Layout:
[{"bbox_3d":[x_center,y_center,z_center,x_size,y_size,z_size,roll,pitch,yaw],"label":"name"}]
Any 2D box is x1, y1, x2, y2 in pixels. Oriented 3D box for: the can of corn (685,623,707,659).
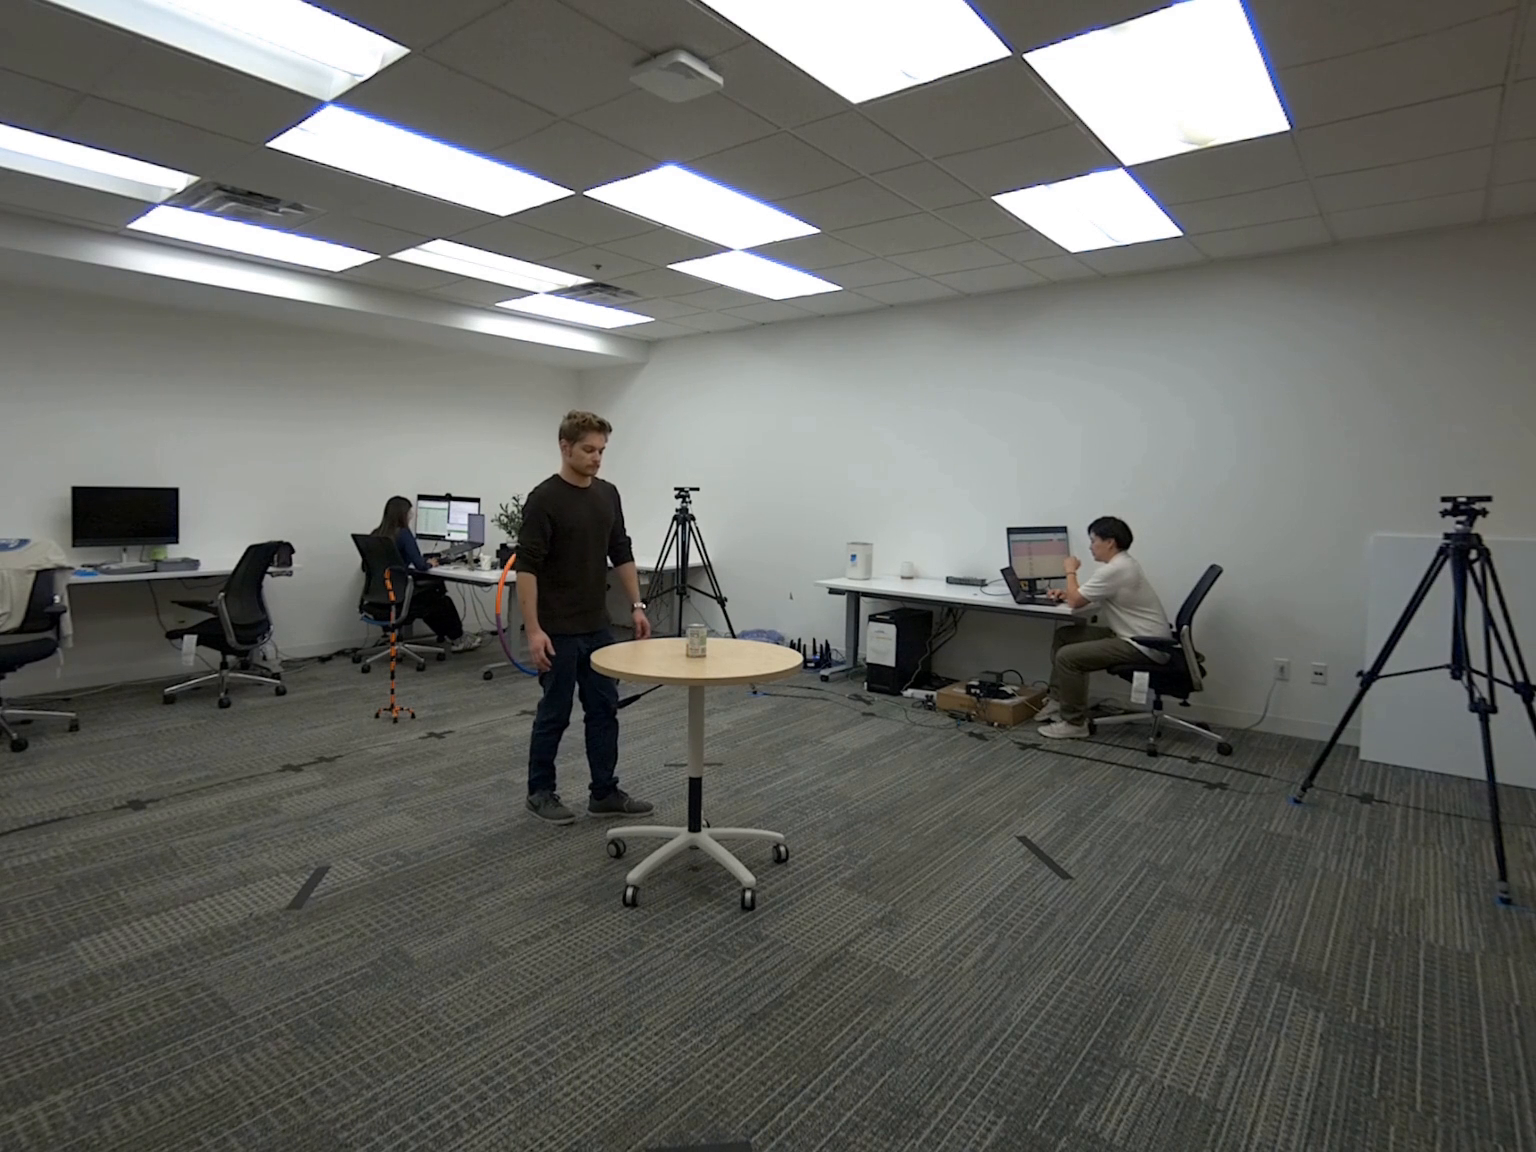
[{"bbox_3d":[-0.267,0.229,3.058,0.074,0.111,0.074,-2,3,-2],"label":"can of corn"}]
